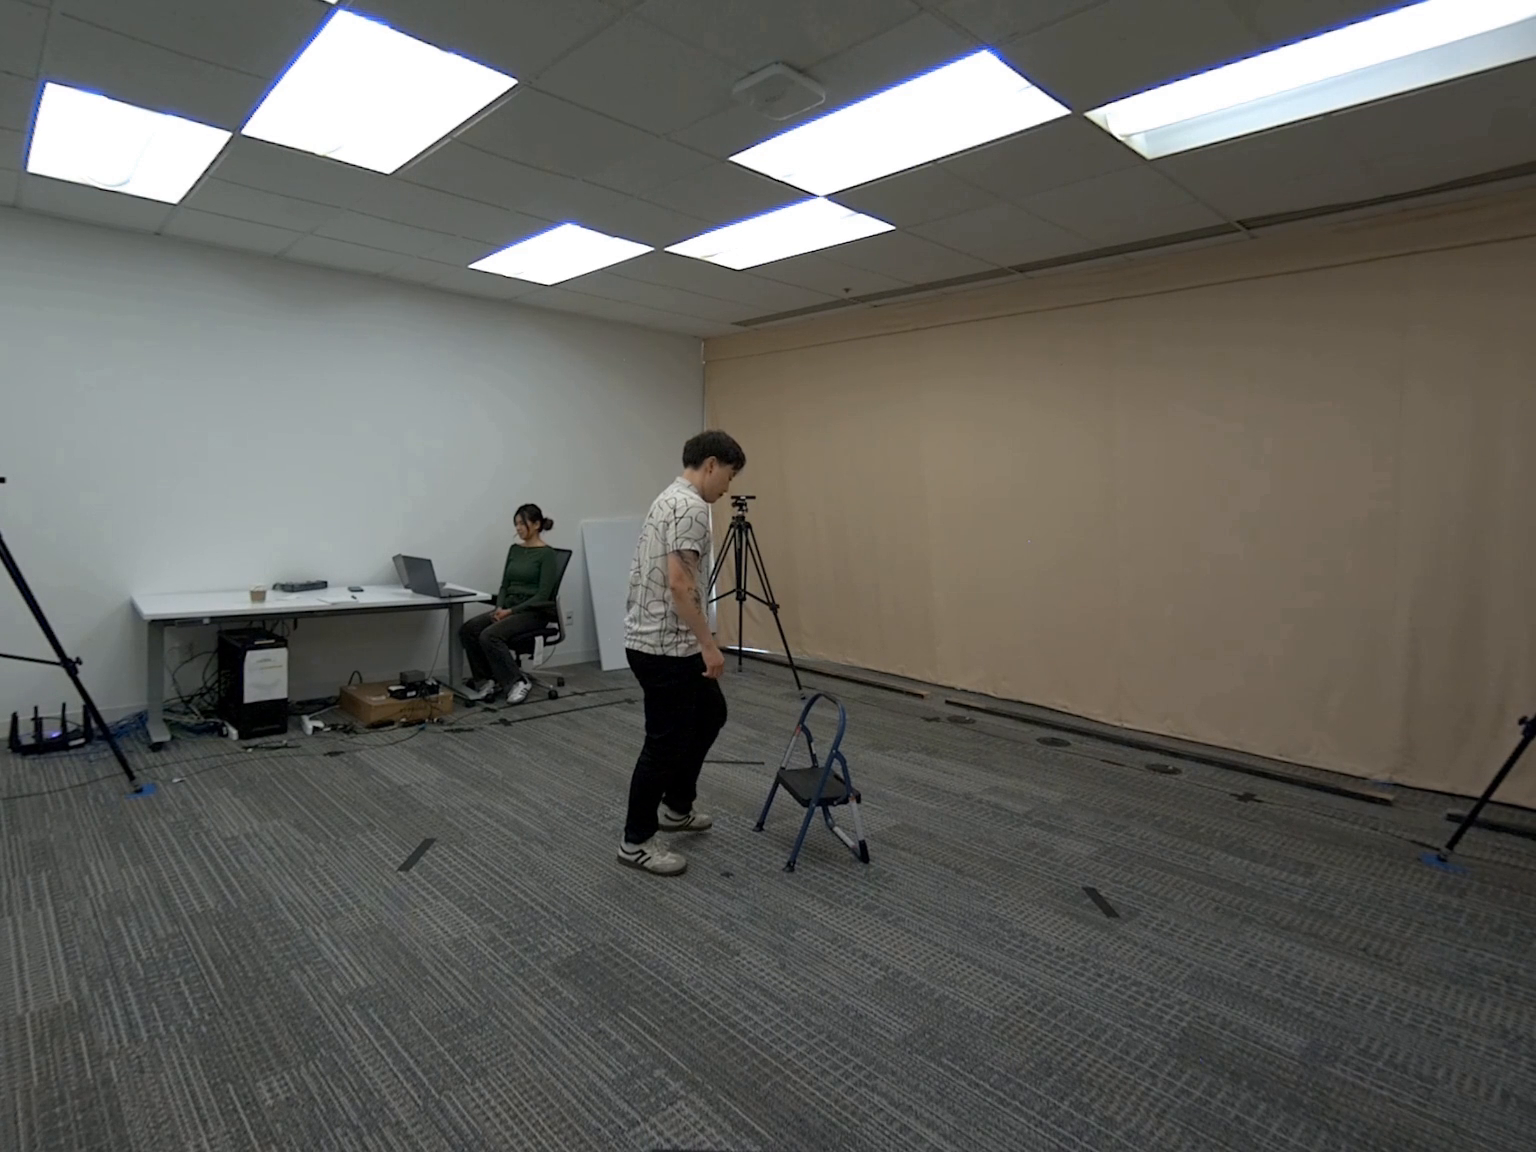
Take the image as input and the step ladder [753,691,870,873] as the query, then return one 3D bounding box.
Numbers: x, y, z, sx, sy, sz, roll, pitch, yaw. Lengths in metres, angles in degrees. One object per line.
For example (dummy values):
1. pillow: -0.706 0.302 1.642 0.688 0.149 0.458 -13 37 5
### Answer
1. step ladder: 0.167 0.784 3.366 0.345 0.604 0.437 0 4 -17
